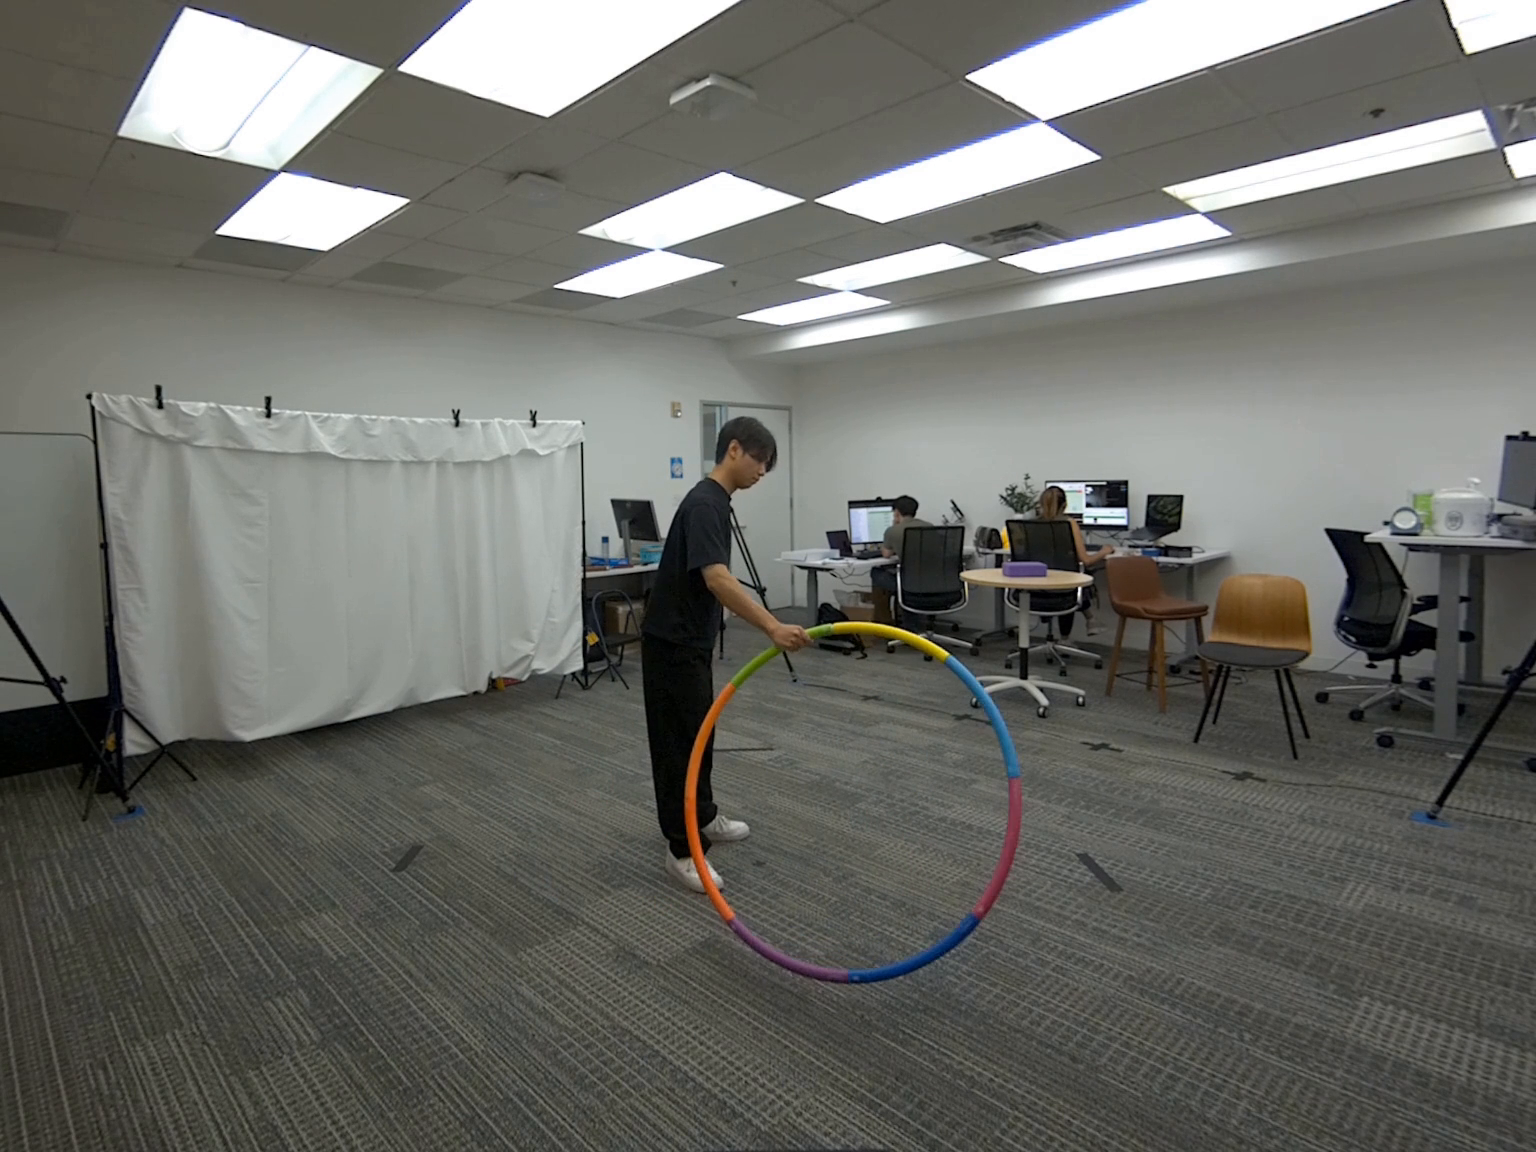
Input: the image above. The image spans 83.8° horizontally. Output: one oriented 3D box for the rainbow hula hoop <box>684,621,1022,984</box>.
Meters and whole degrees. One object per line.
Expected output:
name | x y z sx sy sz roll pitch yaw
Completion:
rainbow hula hoop | 0.207 0.617 2.442 1.002 0.992 0.034 1 -23 27
